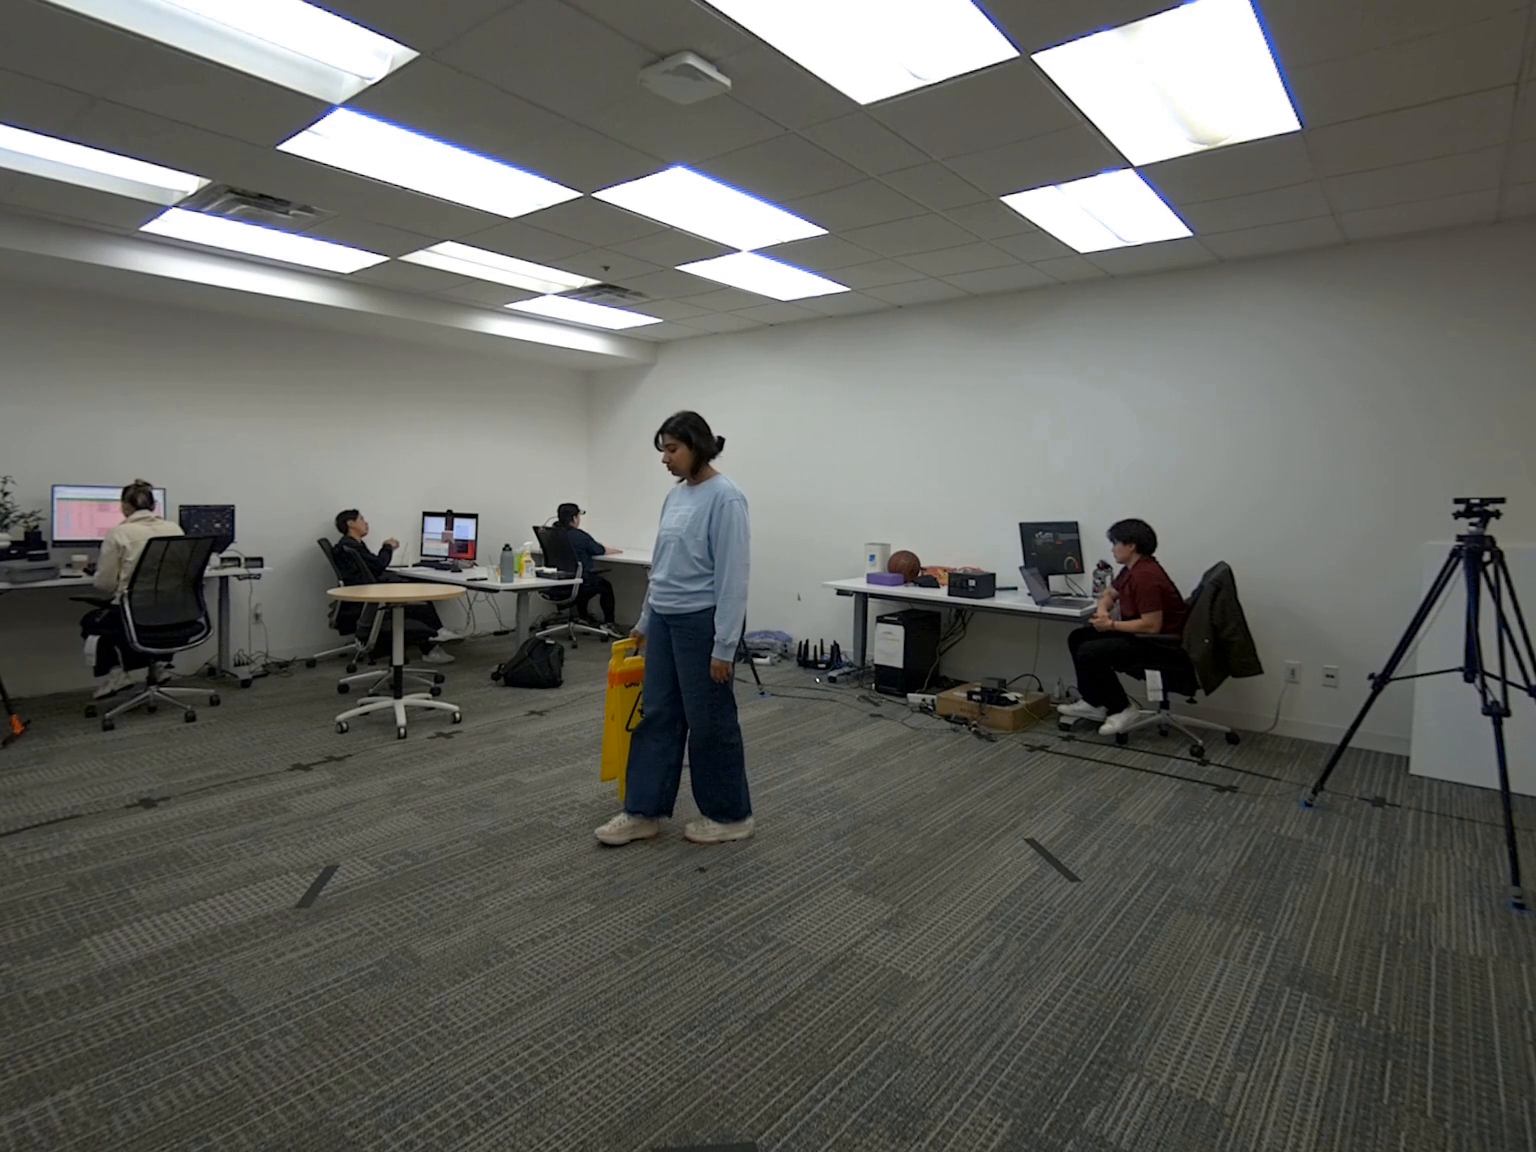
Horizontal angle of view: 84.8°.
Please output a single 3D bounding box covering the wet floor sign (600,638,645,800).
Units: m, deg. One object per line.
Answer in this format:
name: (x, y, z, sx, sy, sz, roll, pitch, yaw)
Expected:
wet floor sign: (-0.578, 0.582, 3.656, 0.275, 0.642, 0.299, -4, 8, -28)
